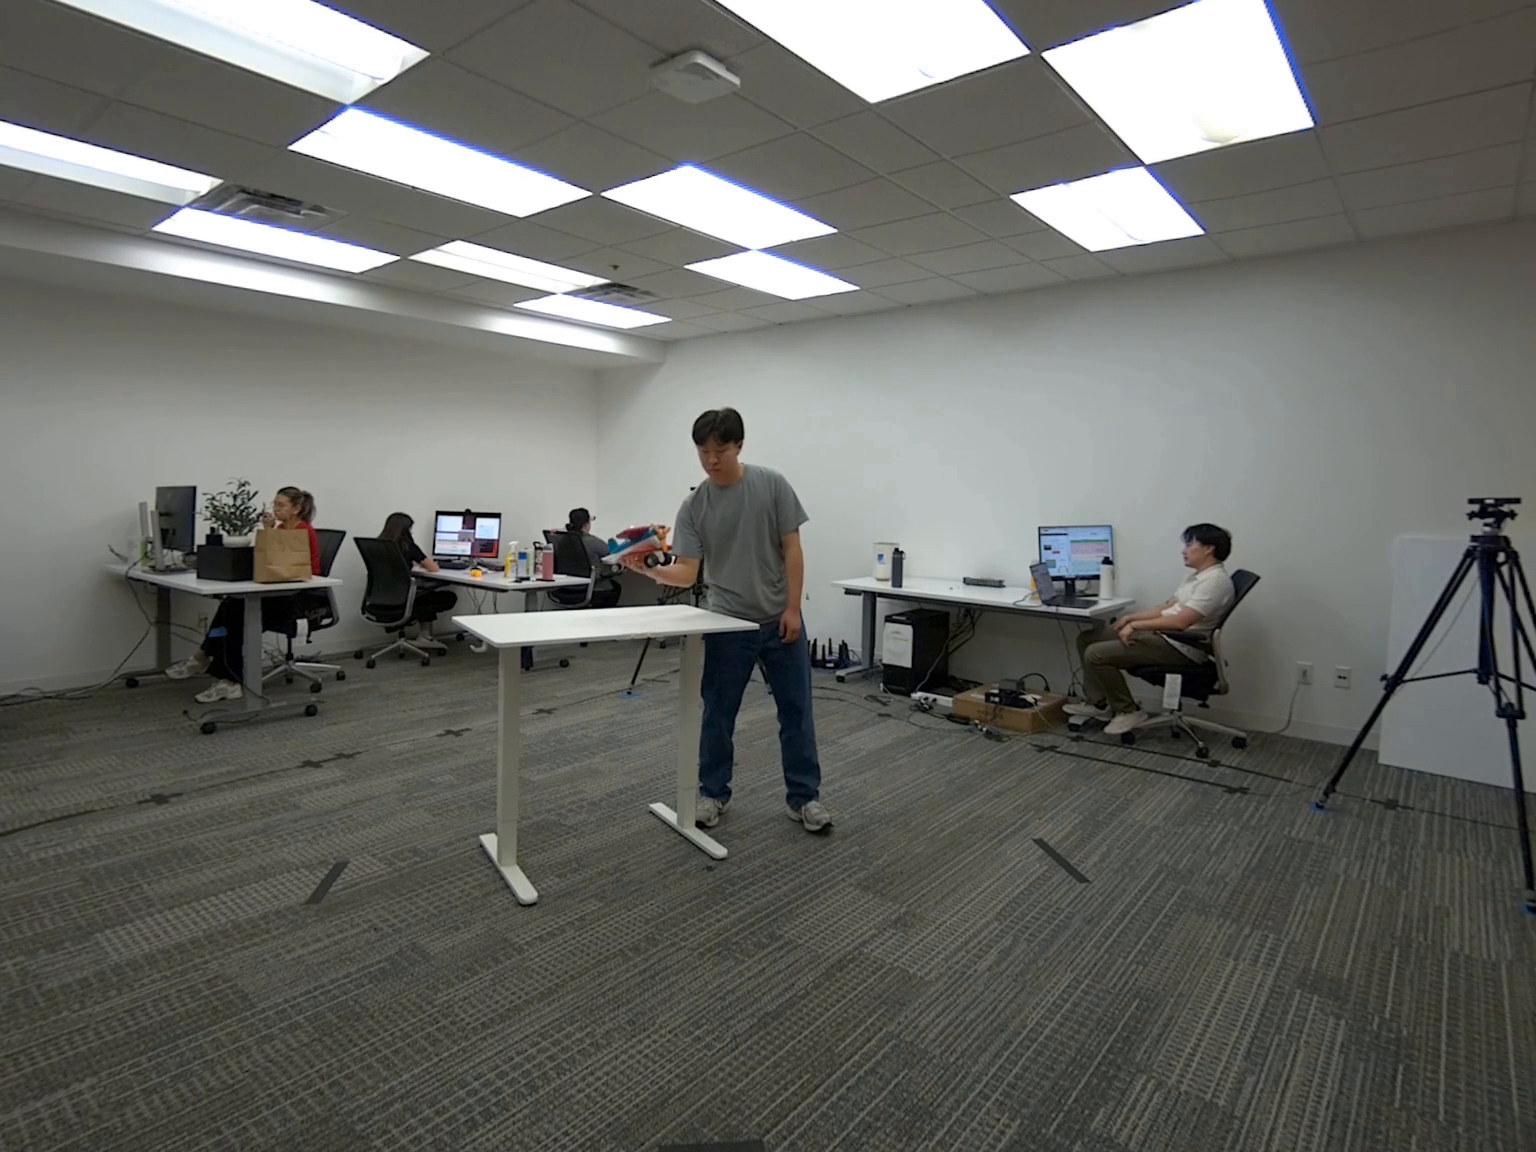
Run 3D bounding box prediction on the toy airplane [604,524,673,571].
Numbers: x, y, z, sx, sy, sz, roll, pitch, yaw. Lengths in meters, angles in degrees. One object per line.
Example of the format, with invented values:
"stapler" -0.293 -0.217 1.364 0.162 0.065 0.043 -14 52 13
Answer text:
"toy airplane" -0.493 -0.106 3.109 0.260 0.157 0.250 -5 0 1
